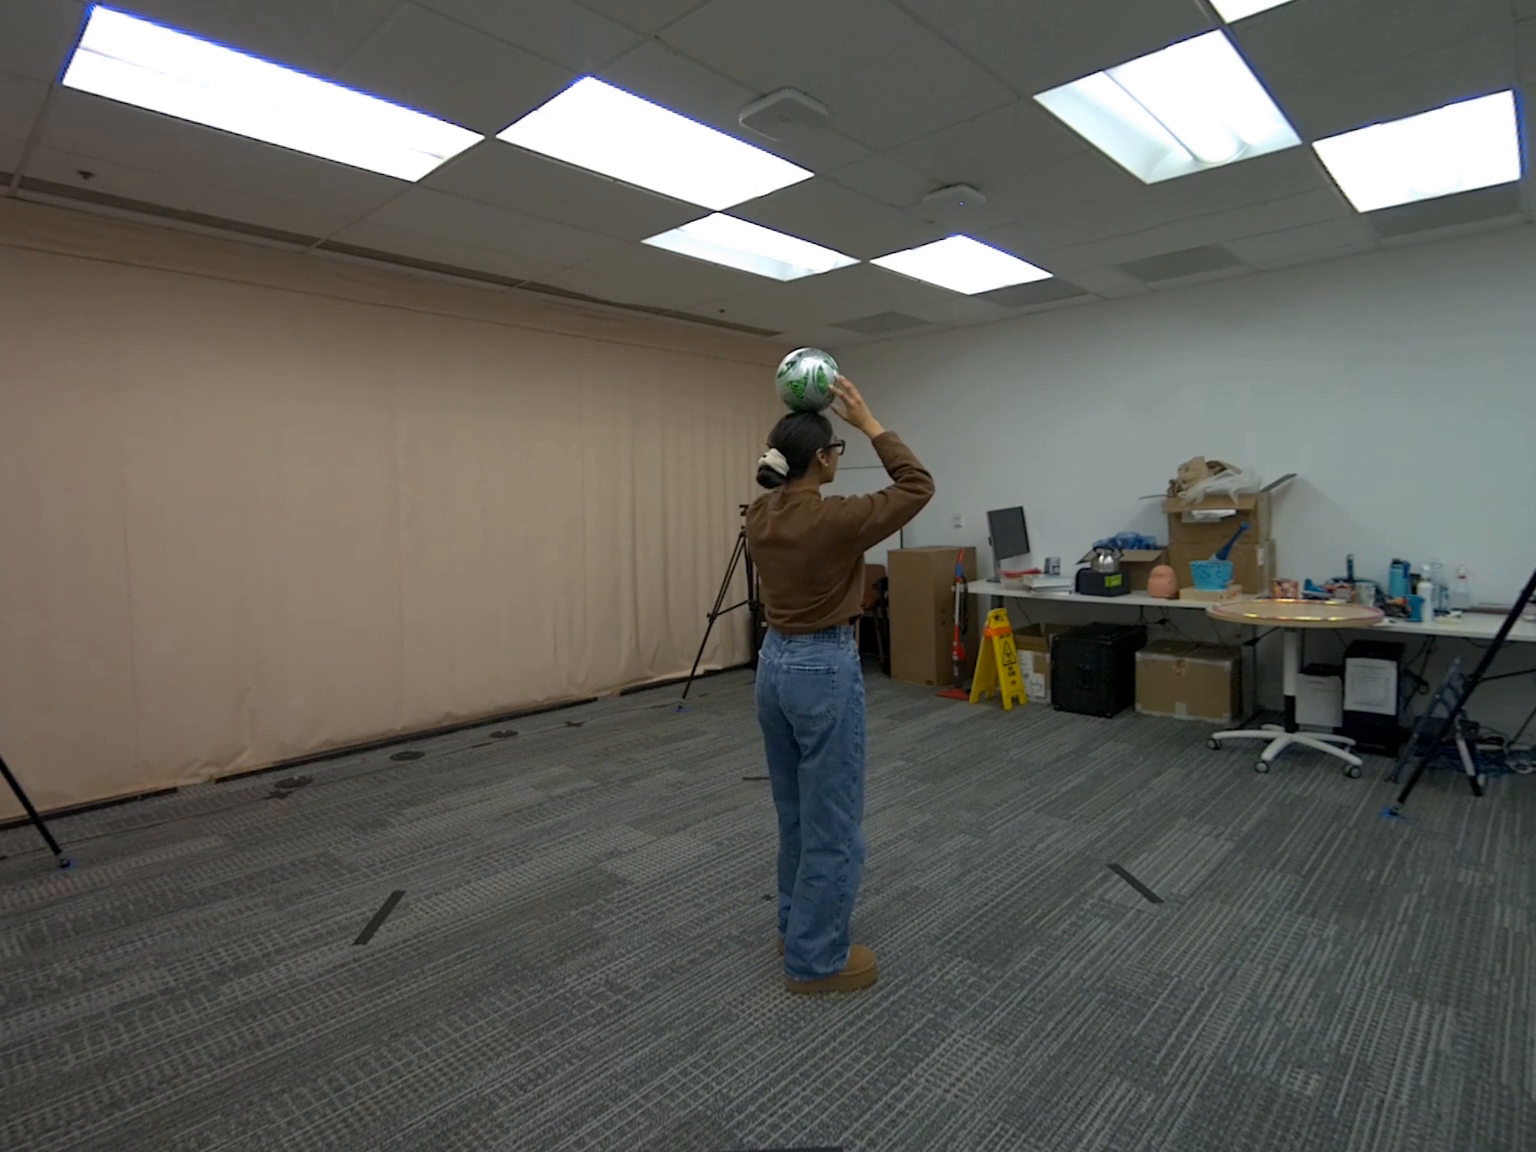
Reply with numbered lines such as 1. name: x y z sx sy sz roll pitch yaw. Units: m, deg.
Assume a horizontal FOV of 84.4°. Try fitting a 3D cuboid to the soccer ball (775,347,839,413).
1. soccer ball: 0.118 -0.559 2.418 0.187 0.187 0.188 -1 4 -2
